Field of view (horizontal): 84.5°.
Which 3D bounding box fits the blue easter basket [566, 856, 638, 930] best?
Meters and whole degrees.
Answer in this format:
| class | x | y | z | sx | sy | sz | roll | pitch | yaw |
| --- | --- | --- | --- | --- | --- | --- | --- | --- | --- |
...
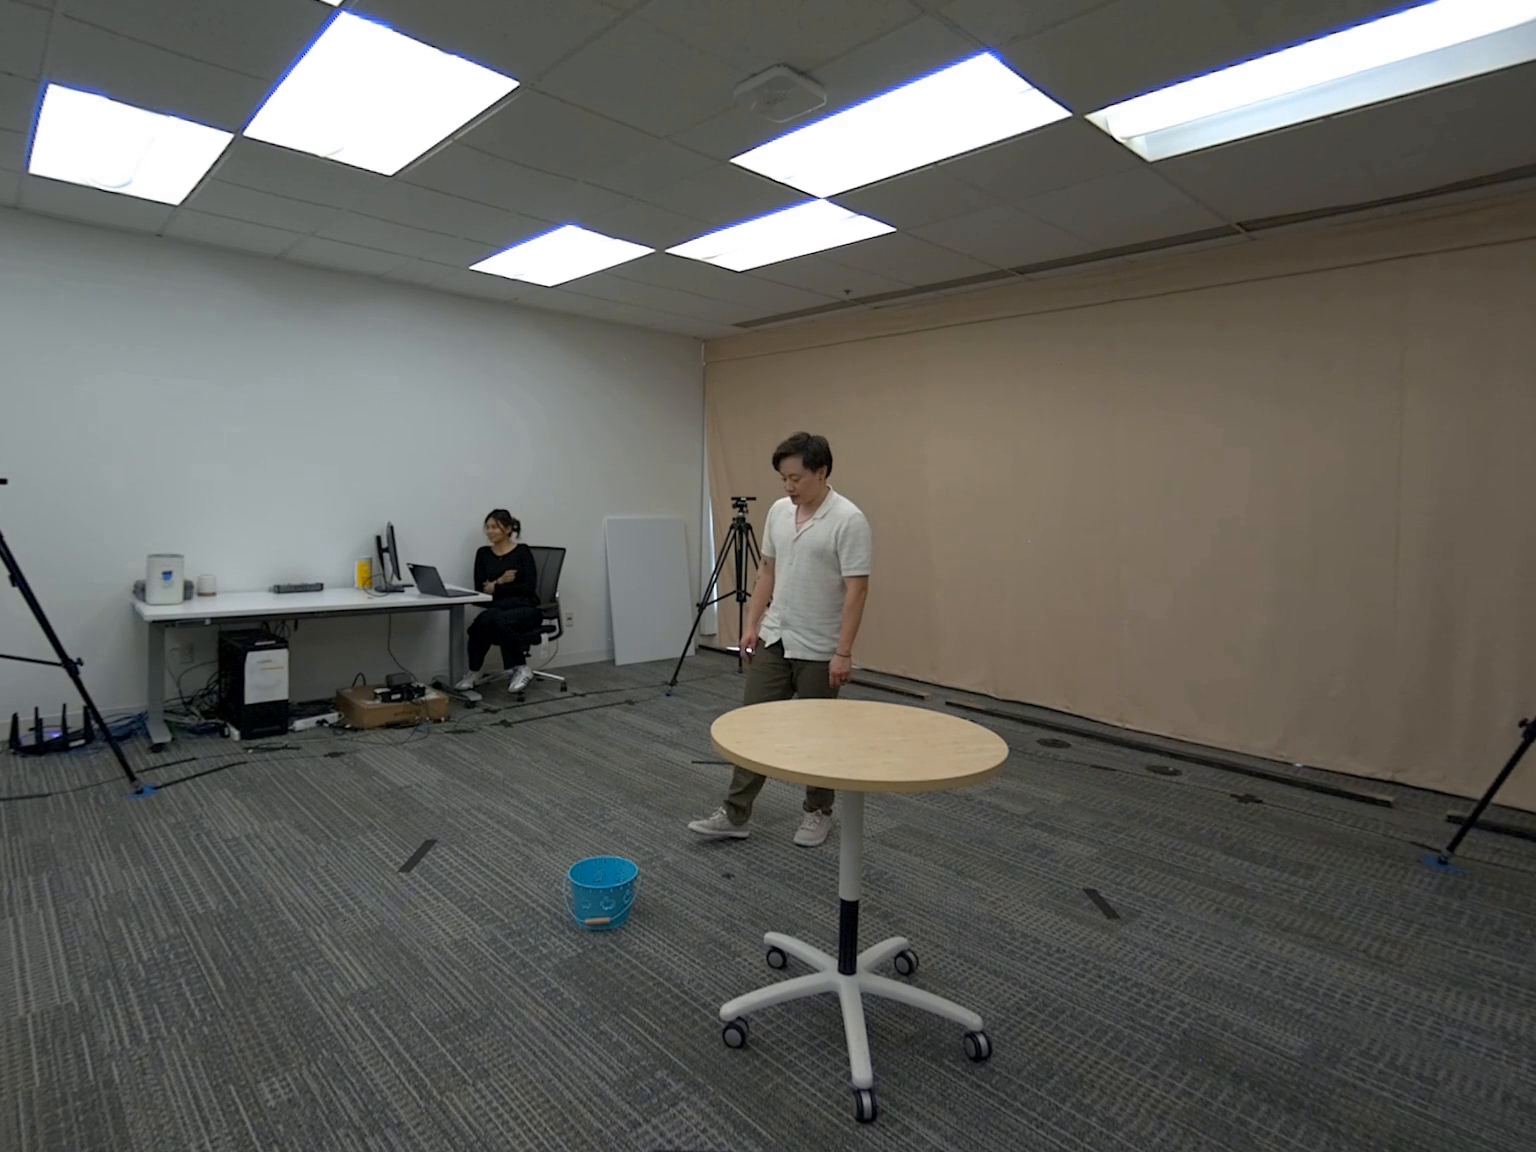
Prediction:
| class | x | y | z | sx | sy | sz | roll | pitch | yaw |
| --- | --- | --- | --- | --- | --- | --- | --- | --- | --- |
| blue easter basket | -0.553 | 1.048 | 2.776 | 0.243 | 0.155 | 0.244 | 1 | 5 | -1 |
